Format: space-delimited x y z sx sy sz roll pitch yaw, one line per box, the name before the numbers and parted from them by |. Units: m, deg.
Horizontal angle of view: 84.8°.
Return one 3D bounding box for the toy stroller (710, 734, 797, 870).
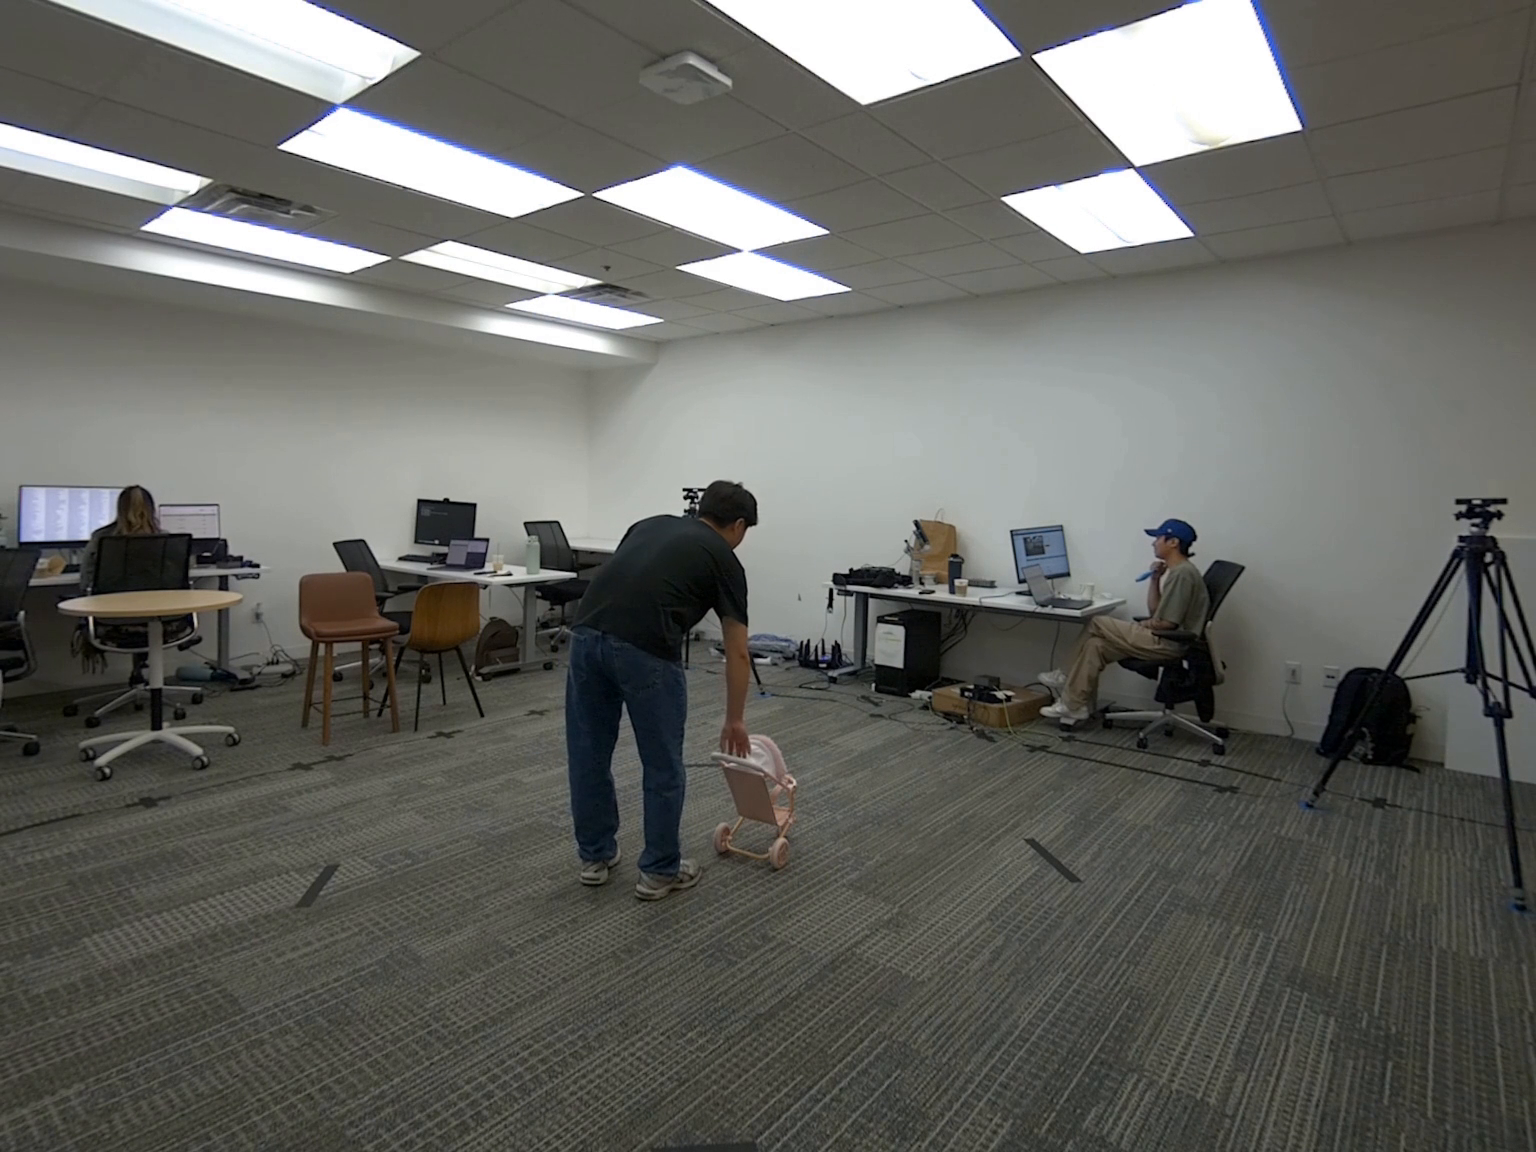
toy stroller | -0.038 0.833 3.241 0.290 0.526 0.336 4 20 34
